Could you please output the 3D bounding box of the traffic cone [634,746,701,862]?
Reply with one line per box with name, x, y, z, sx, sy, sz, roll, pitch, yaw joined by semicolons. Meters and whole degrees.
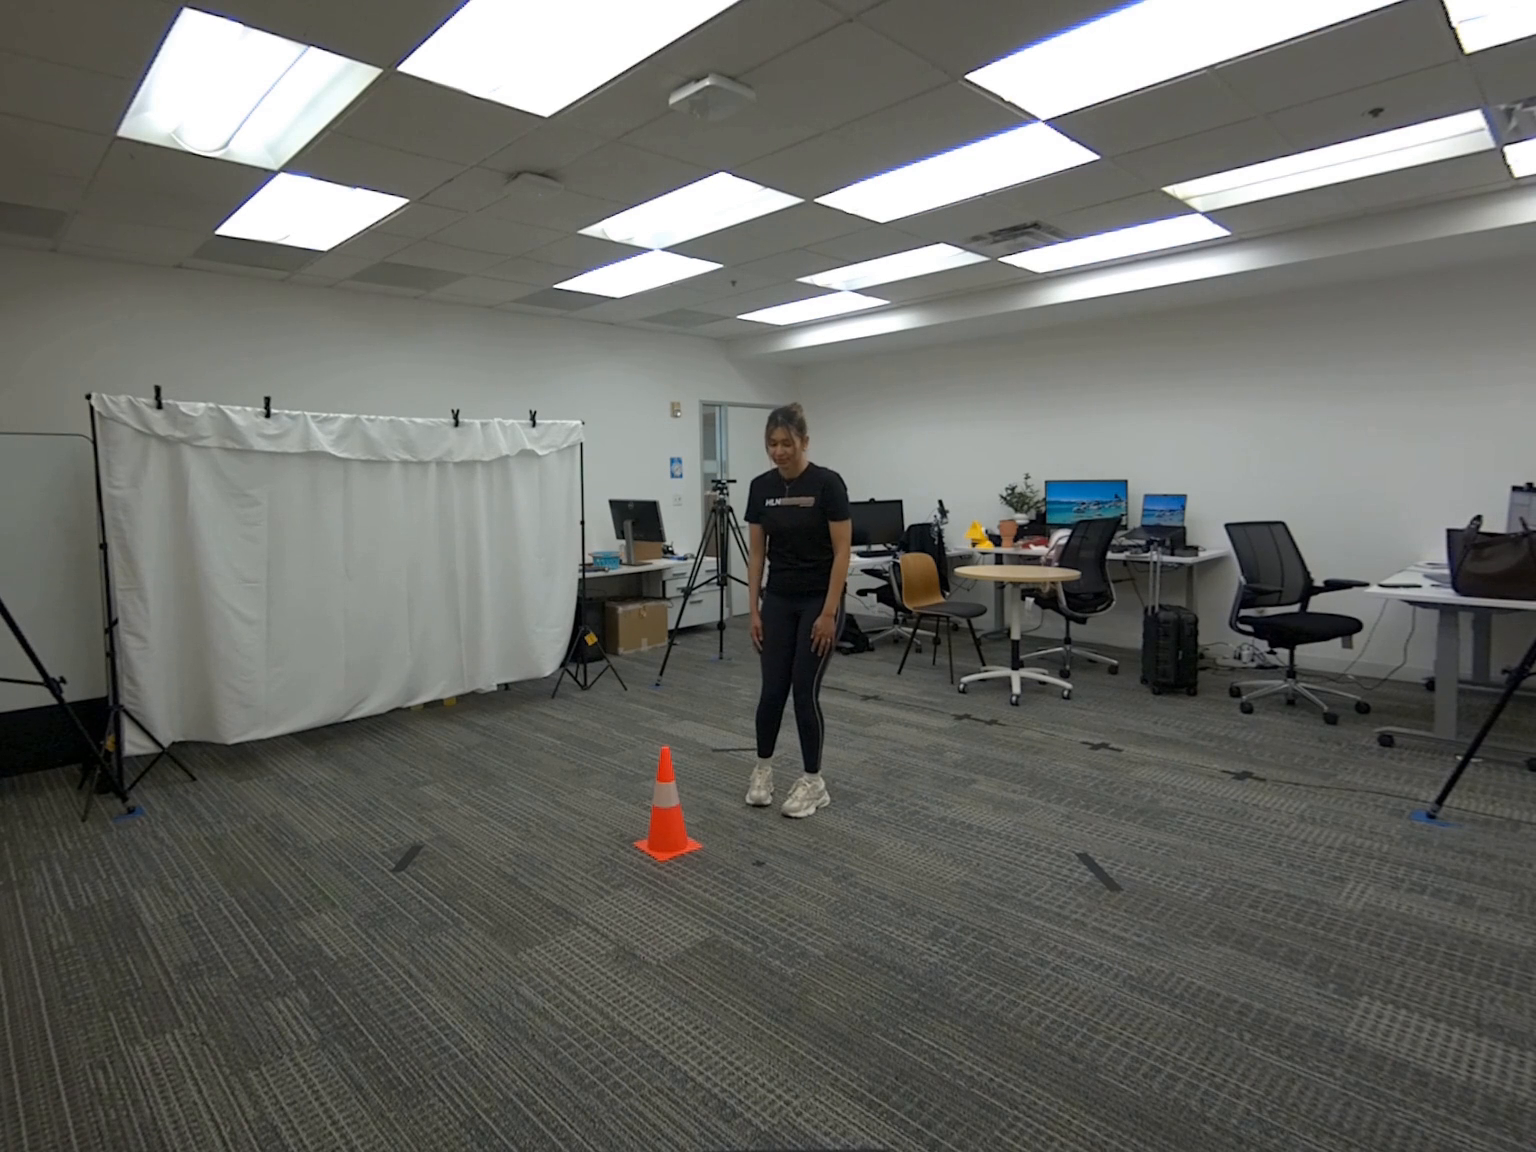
traffic cone;-0.386;0.854;3.262;0.211;0.382;0.198;2;5;43
